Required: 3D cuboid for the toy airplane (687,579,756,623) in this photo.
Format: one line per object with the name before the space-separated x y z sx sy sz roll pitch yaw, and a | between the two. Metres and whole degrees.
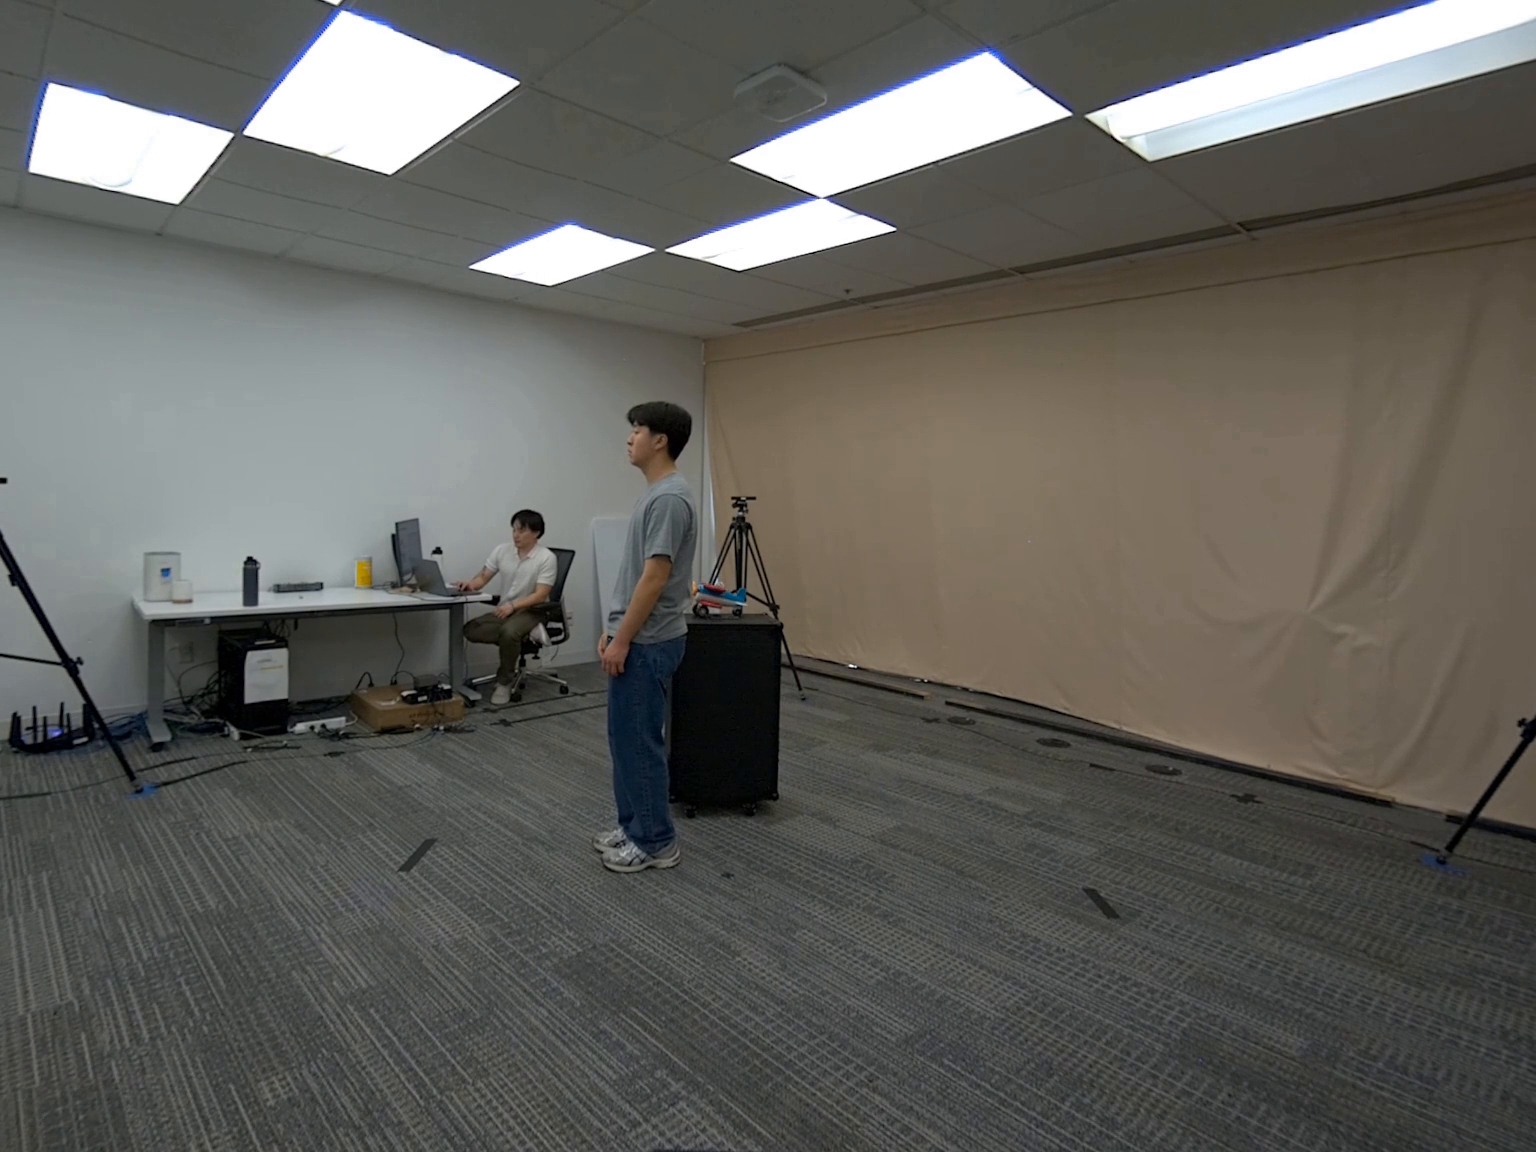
toy airplane | -0.242 0.109 3.914 0.257 0.156 0.253 7 7 45
